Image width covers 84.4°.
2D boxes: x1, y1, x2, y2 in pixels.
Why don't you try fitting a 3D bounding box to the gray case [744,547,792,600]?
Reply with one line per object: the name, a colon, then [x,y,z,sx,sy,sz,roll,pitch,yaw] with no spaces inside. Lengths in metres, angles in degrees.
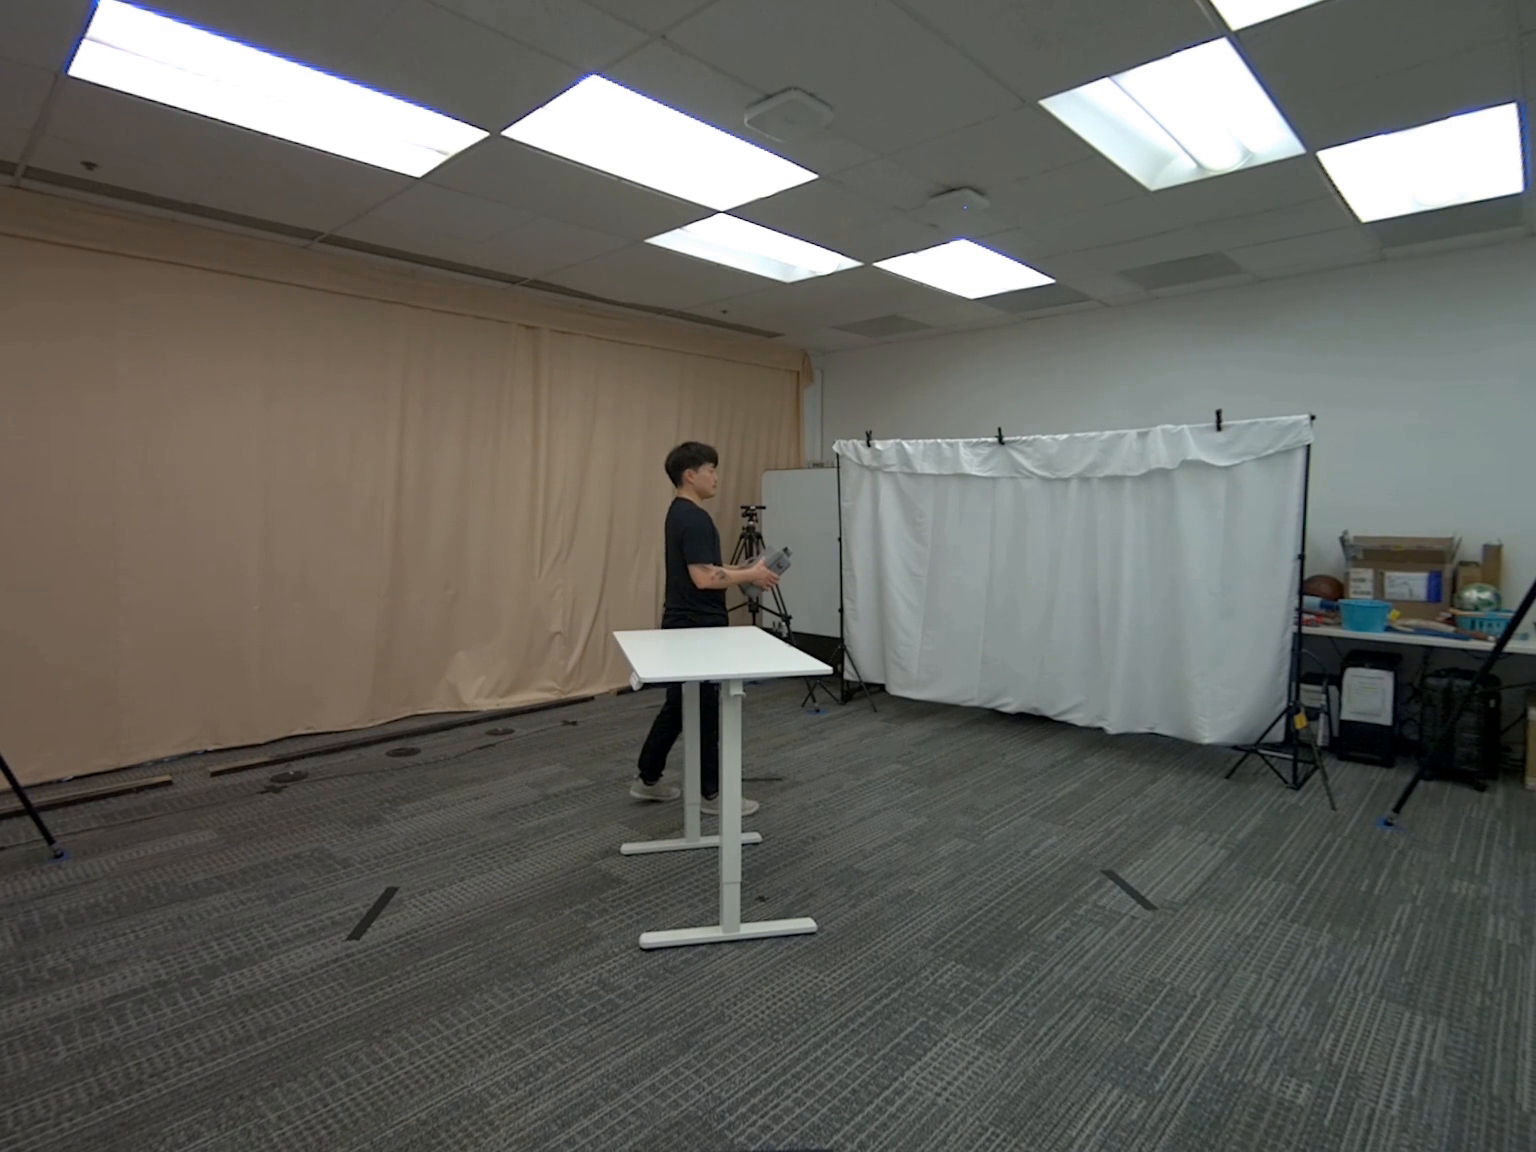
gray case: [-0.026,-0.026,3.875,0.260,0.103,0.259,-41,8,0]
